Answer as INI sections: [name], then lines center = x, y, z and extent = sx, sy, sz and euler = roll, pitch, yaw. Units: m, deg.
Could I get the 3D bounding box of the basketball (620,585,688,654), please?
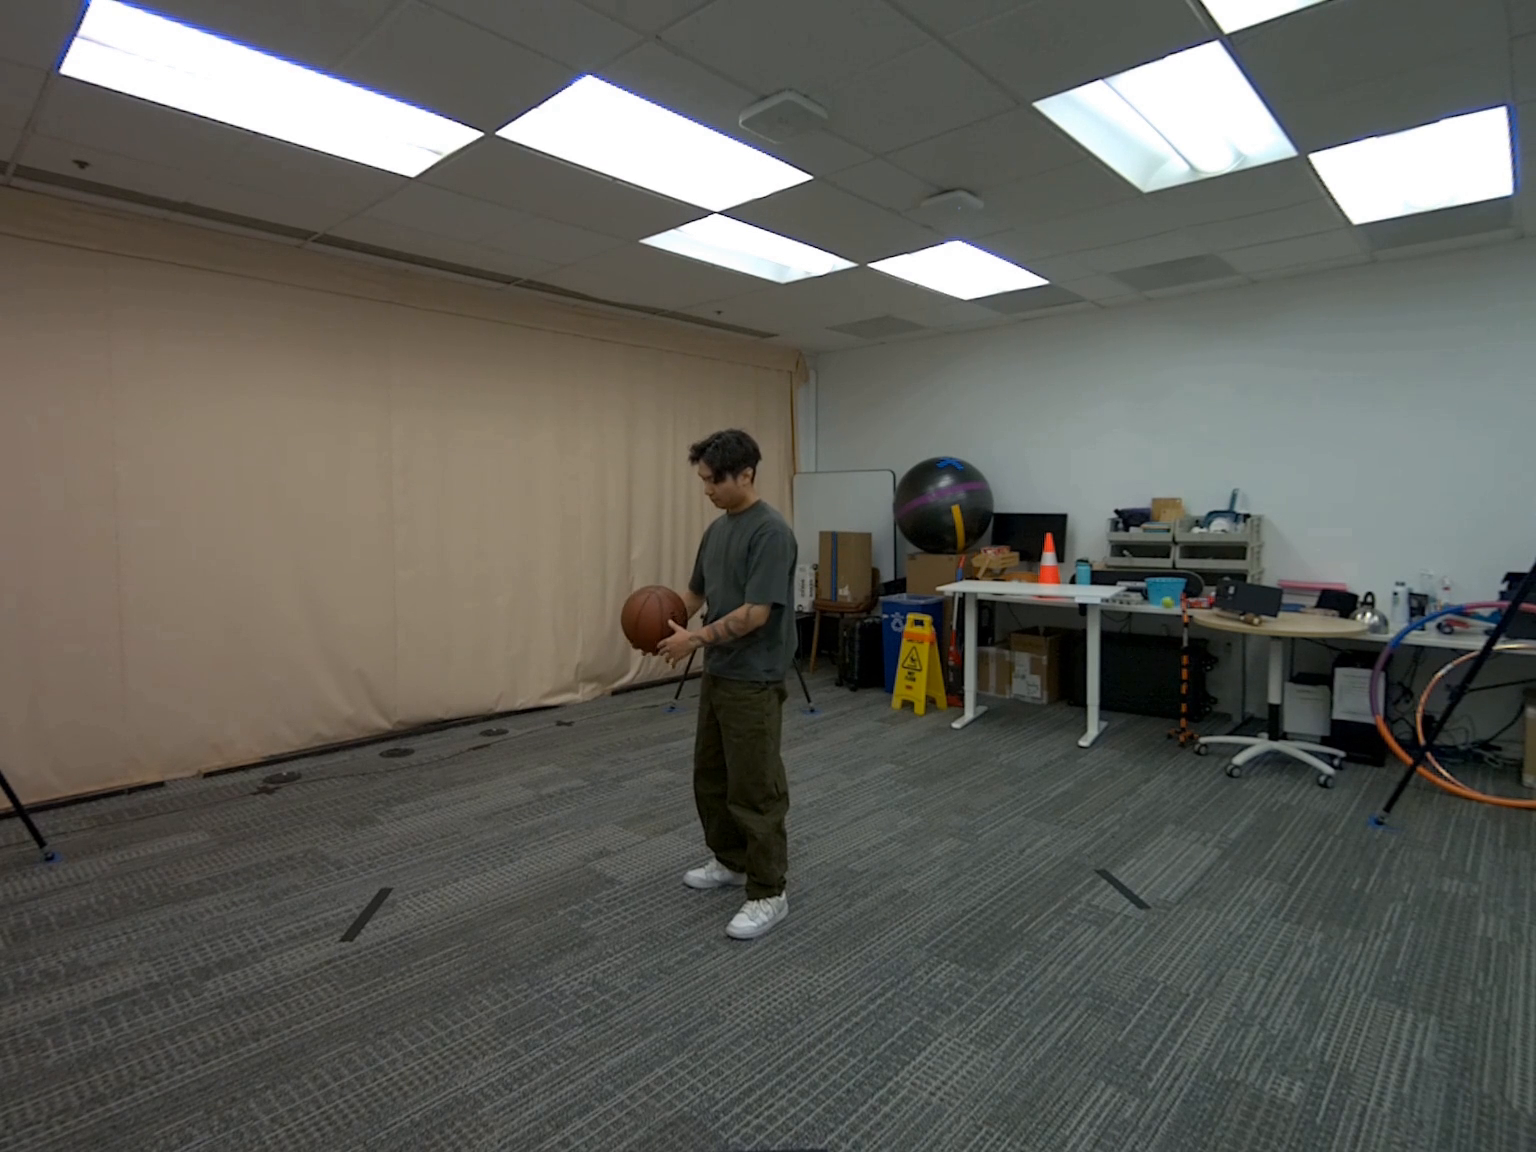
[basketball]
center = -0.394, 0.151, 2.995
extent = 0.236, 0.235, 0.237
euler = 0, 4, -2
